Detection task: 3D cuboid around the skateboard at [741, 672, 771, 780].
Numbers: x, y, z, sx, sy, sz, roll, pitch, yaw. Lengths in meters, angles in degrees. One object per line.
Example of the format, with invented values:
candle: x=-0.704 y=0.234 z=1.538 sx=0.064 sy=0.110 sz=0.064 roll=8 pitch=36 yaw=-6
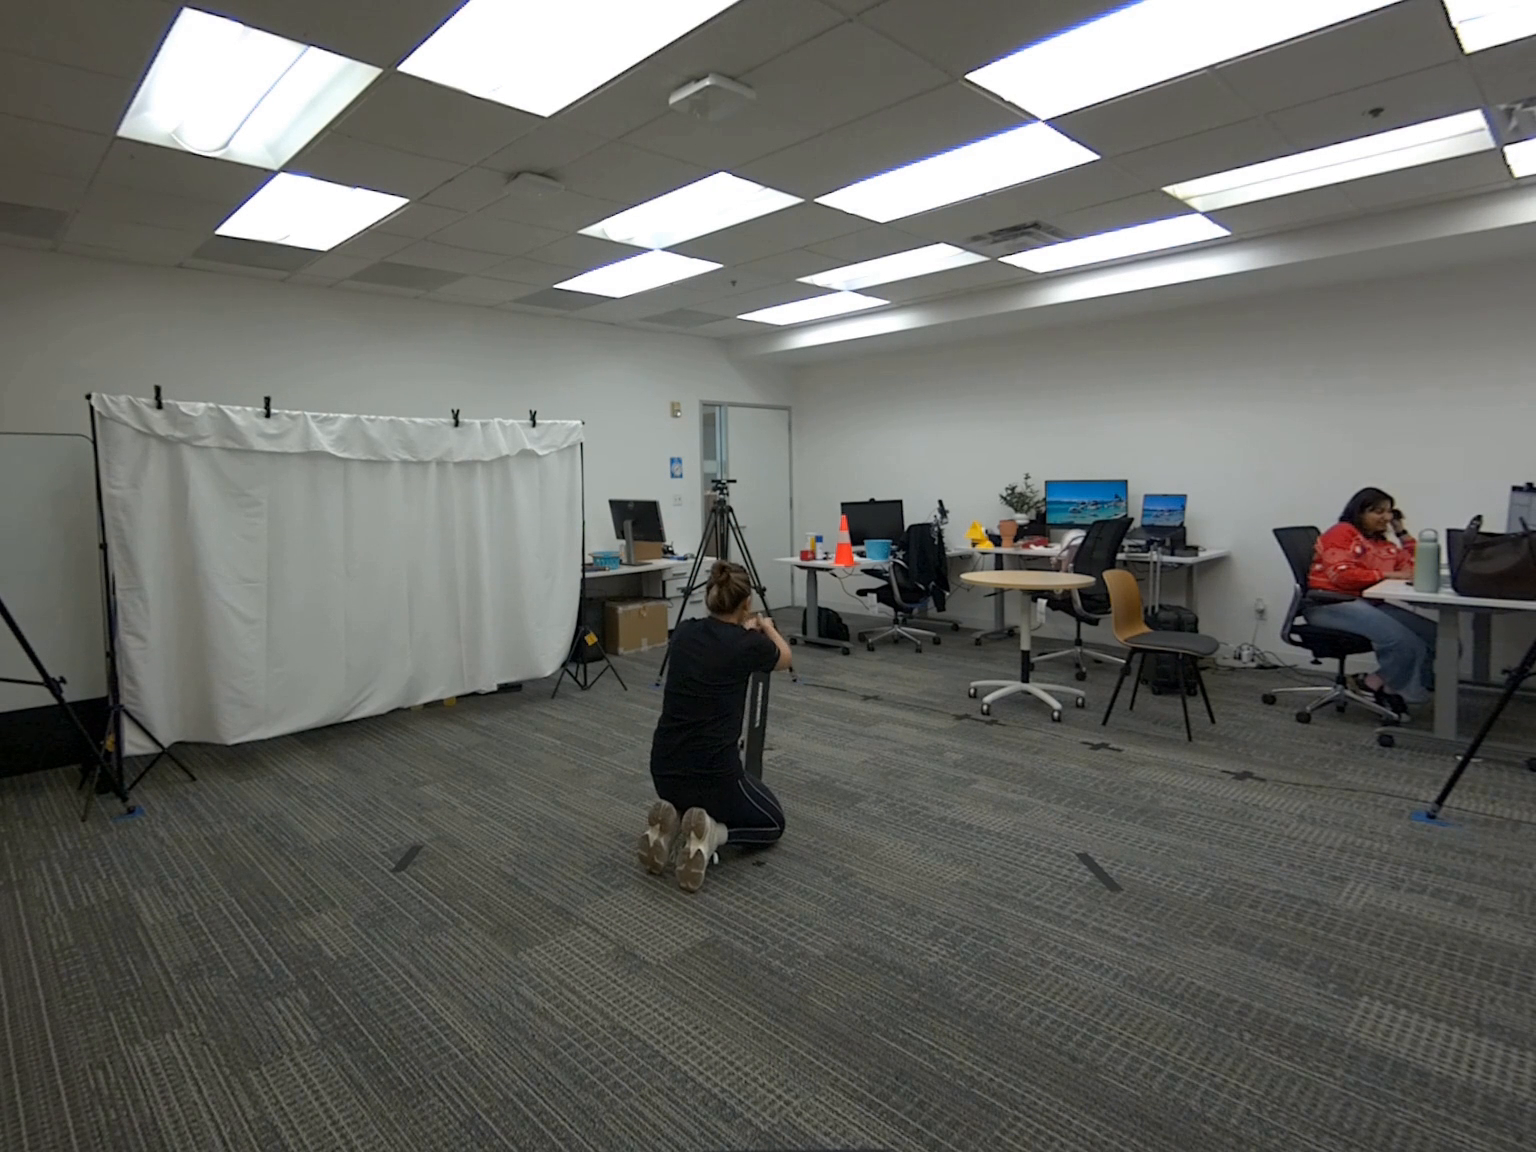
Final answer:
skateboard: x=-0.066 y=0.573 z=3.830 sx=0.113 sy=0.782 sz=0.189 roll=8 pitch=5 yaw=26
